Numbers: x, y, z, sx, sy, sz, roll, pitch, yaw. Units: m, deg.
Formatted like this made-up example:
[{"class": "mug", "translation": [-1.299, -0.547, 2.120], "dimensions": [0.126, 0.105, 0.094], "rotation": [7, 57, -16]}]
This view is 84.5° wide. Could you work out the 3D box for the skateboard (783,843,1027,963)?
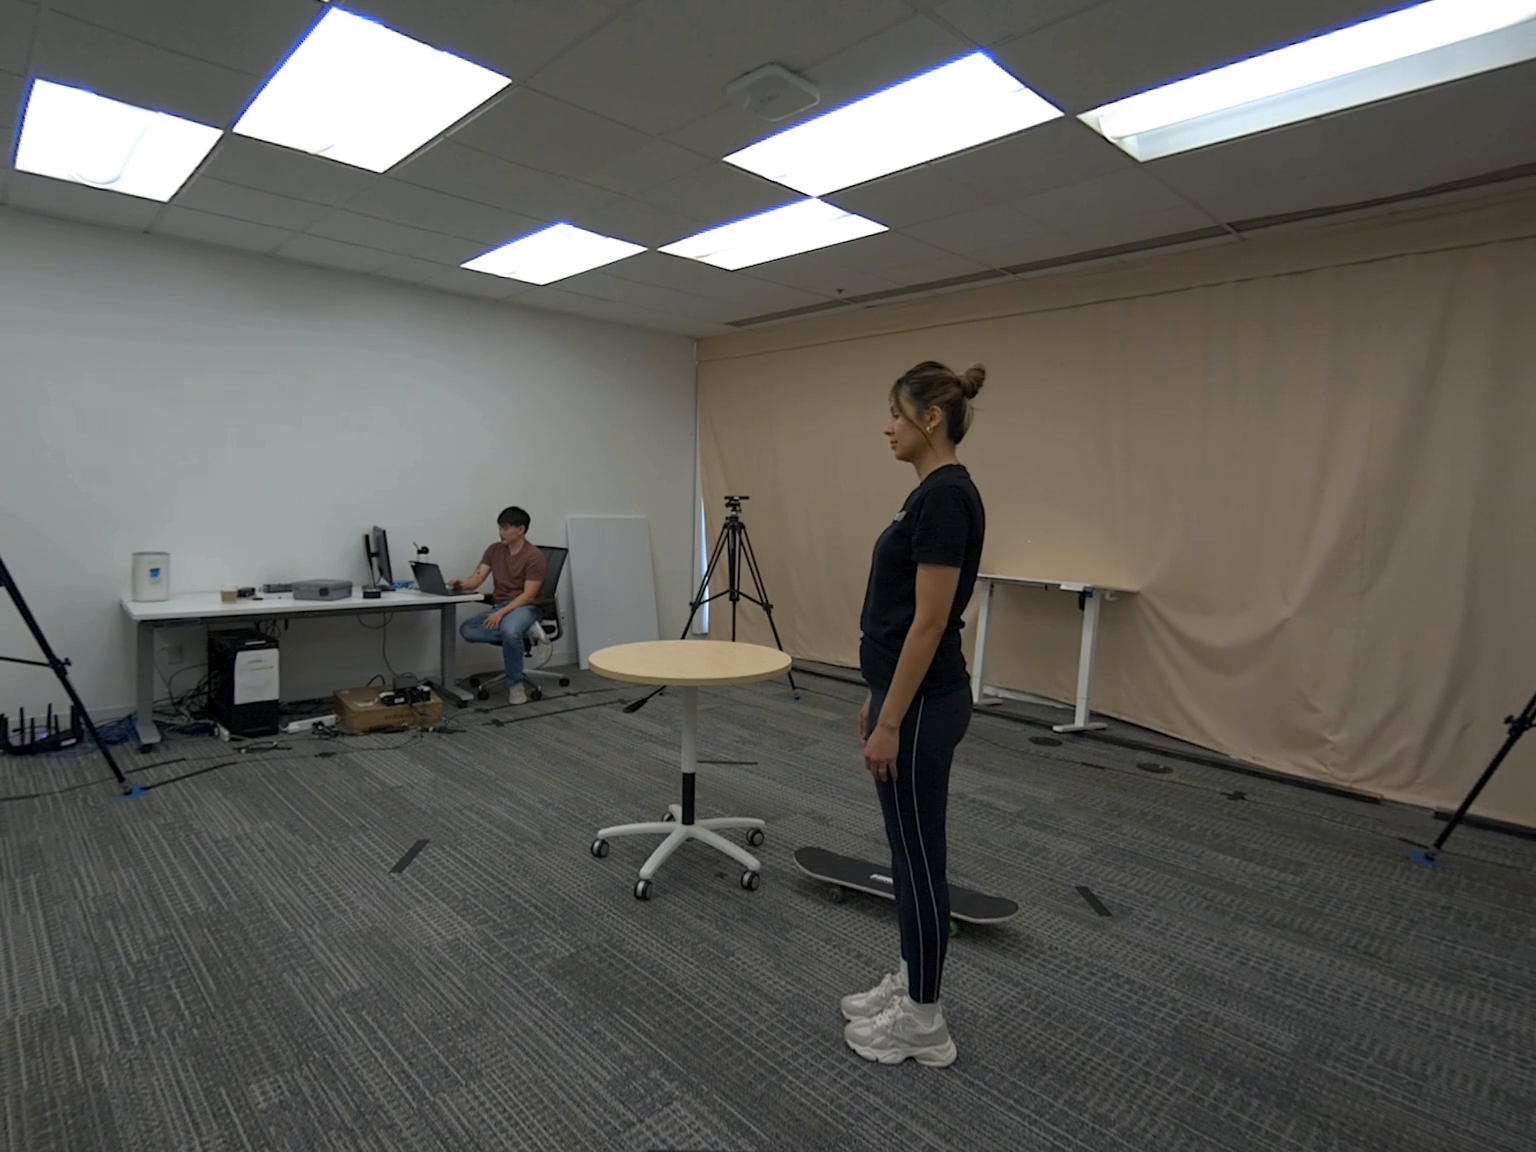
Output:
[{"class": "skateboard", "translation": [0.443, 1.088, 2.870], "dimensions": [0.803, 0.110, 0.190], "rotation": [5, 6, 31]}]
